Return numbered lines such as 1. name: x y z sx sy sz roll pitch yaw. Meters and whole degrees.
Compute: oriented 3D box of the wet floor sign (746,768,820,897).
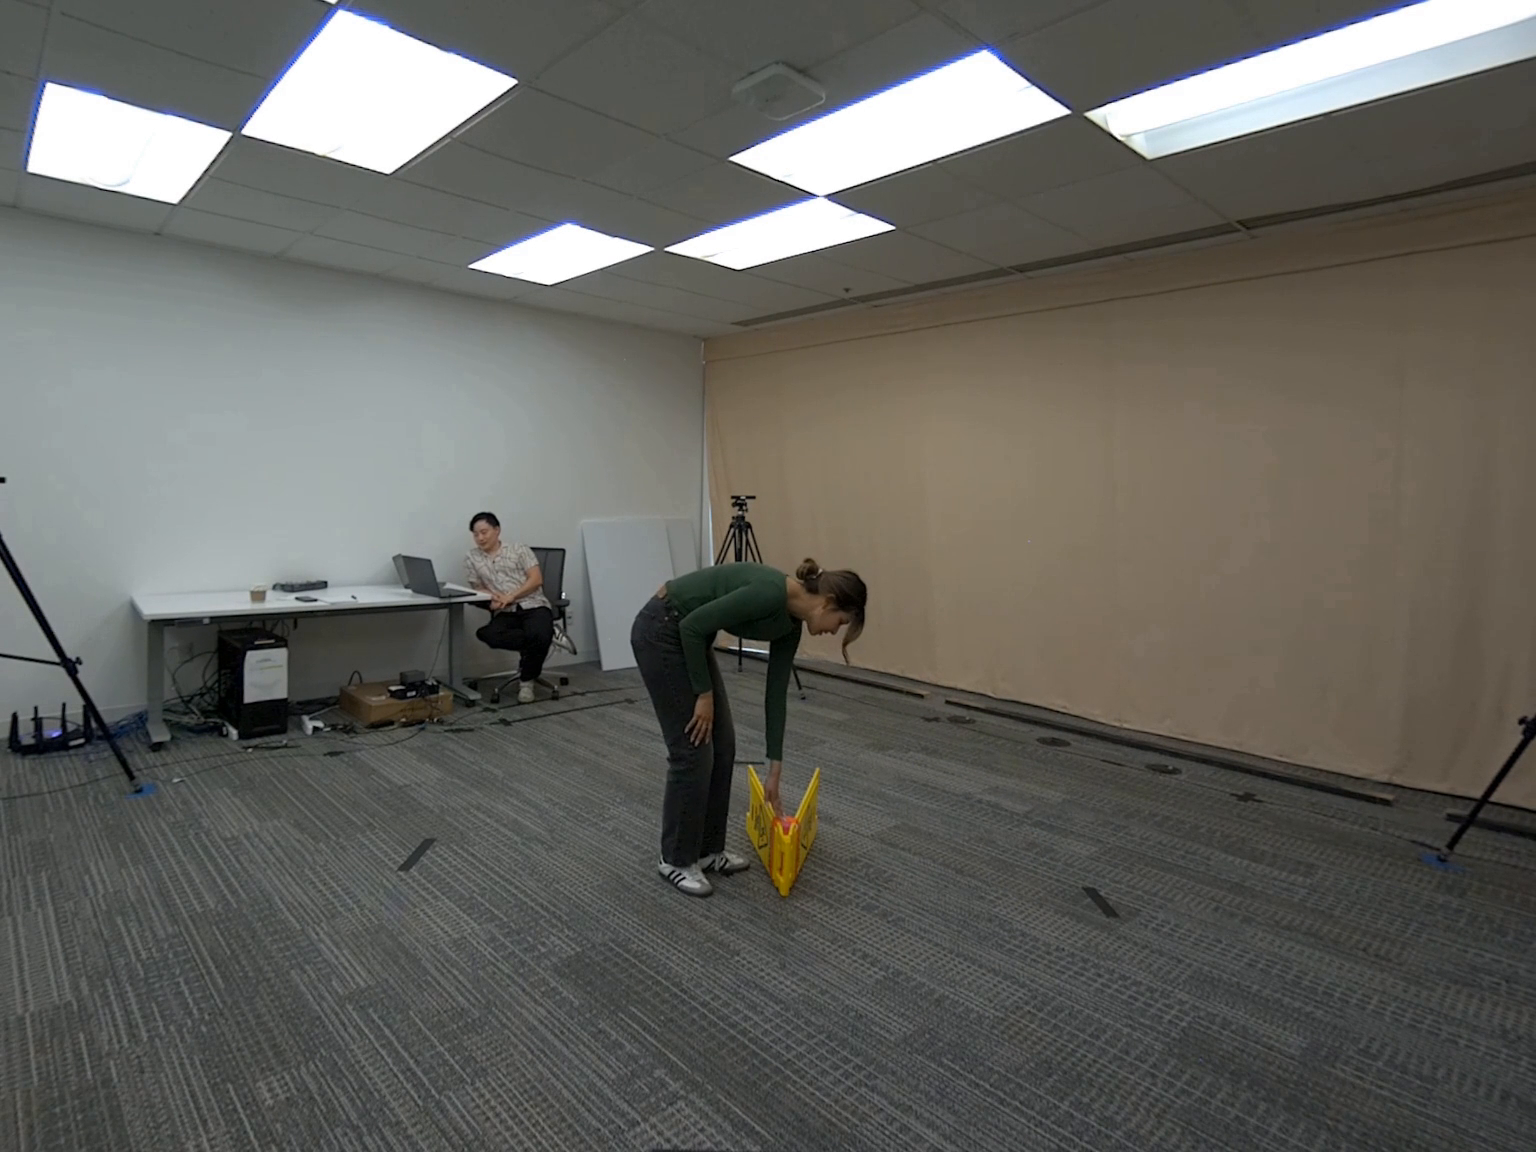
1. wet floor sign: 0.057 0.966 3.196 0.290 0.281 0.649 2 7 0
